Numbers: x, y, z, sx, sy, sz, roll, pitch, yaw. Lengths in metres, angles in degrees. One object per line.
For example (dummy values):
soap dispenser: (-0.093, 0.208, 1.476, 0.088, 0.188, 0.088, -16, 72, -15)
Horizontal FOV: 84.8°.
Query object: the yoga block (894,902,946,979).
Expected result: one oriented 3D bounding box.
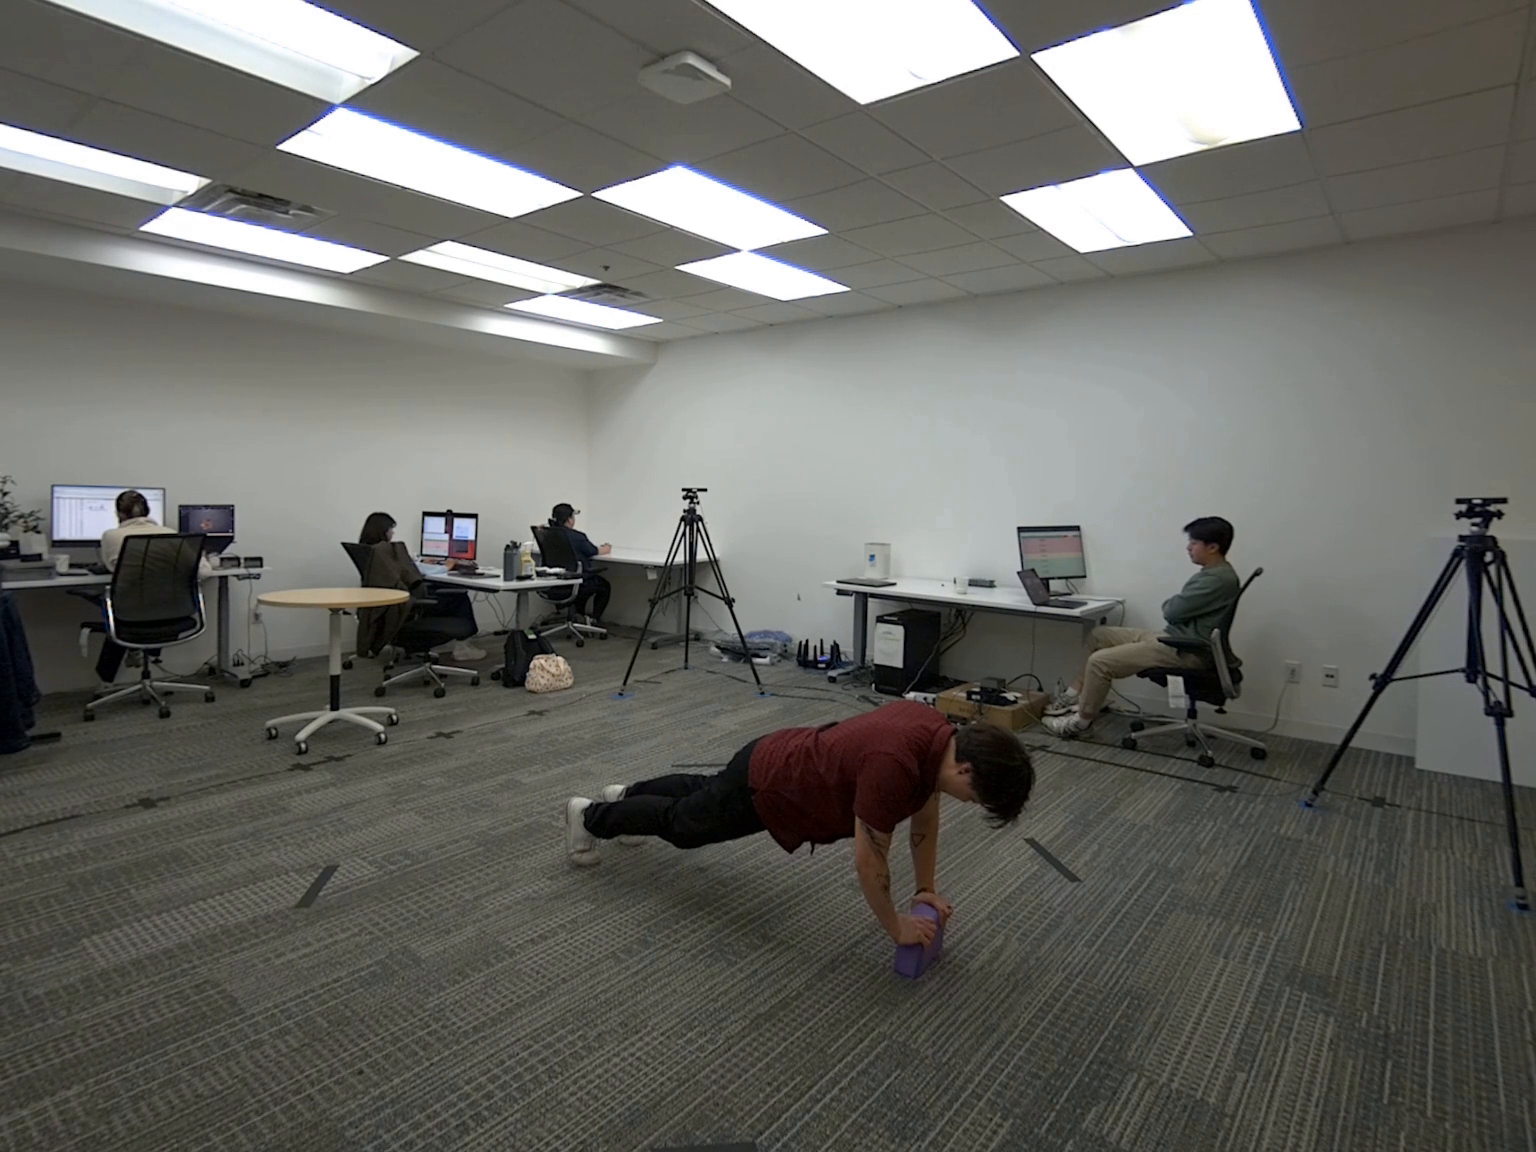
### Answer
yoga block: (0.455, 1.073, 2.540, 0.079, 0.148, 0.223, 12, 8, 29)
